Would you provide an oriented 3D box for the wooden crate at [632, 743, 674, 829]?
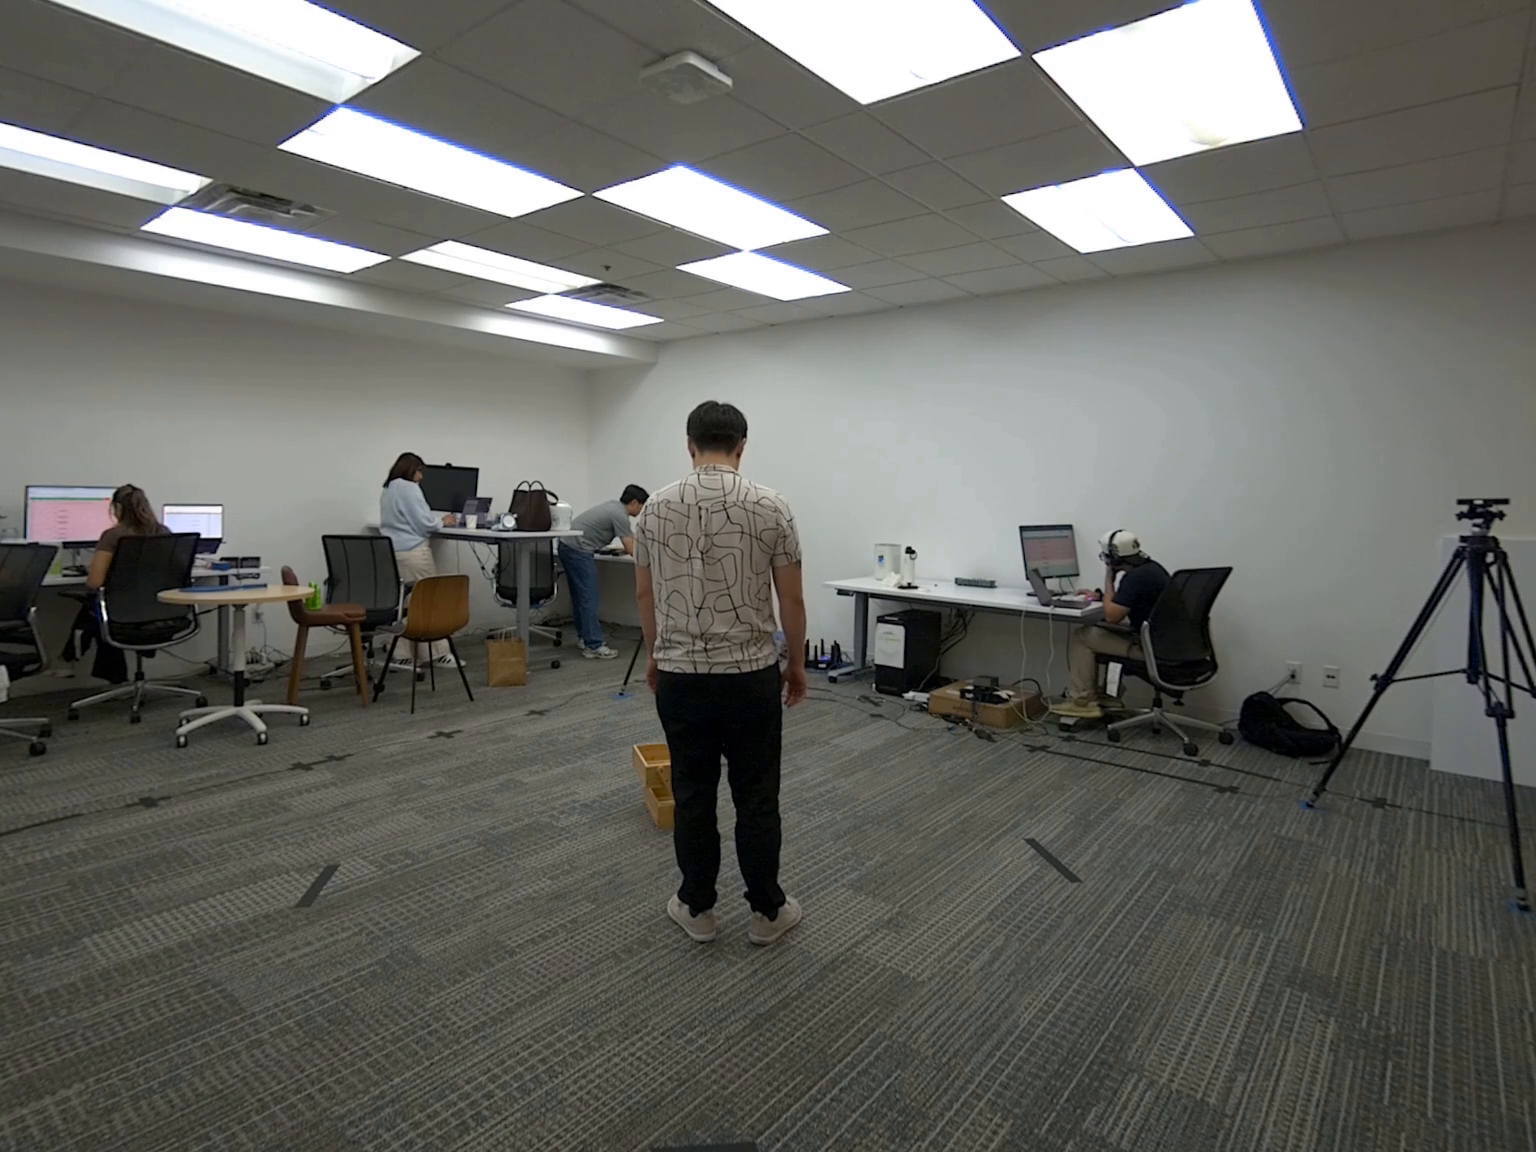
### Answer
[{"bbox_3d":[-0.410,0.880,3.655,0.297,0.272,0.331,-1,5,-18],"label":"wooden crate"}]
